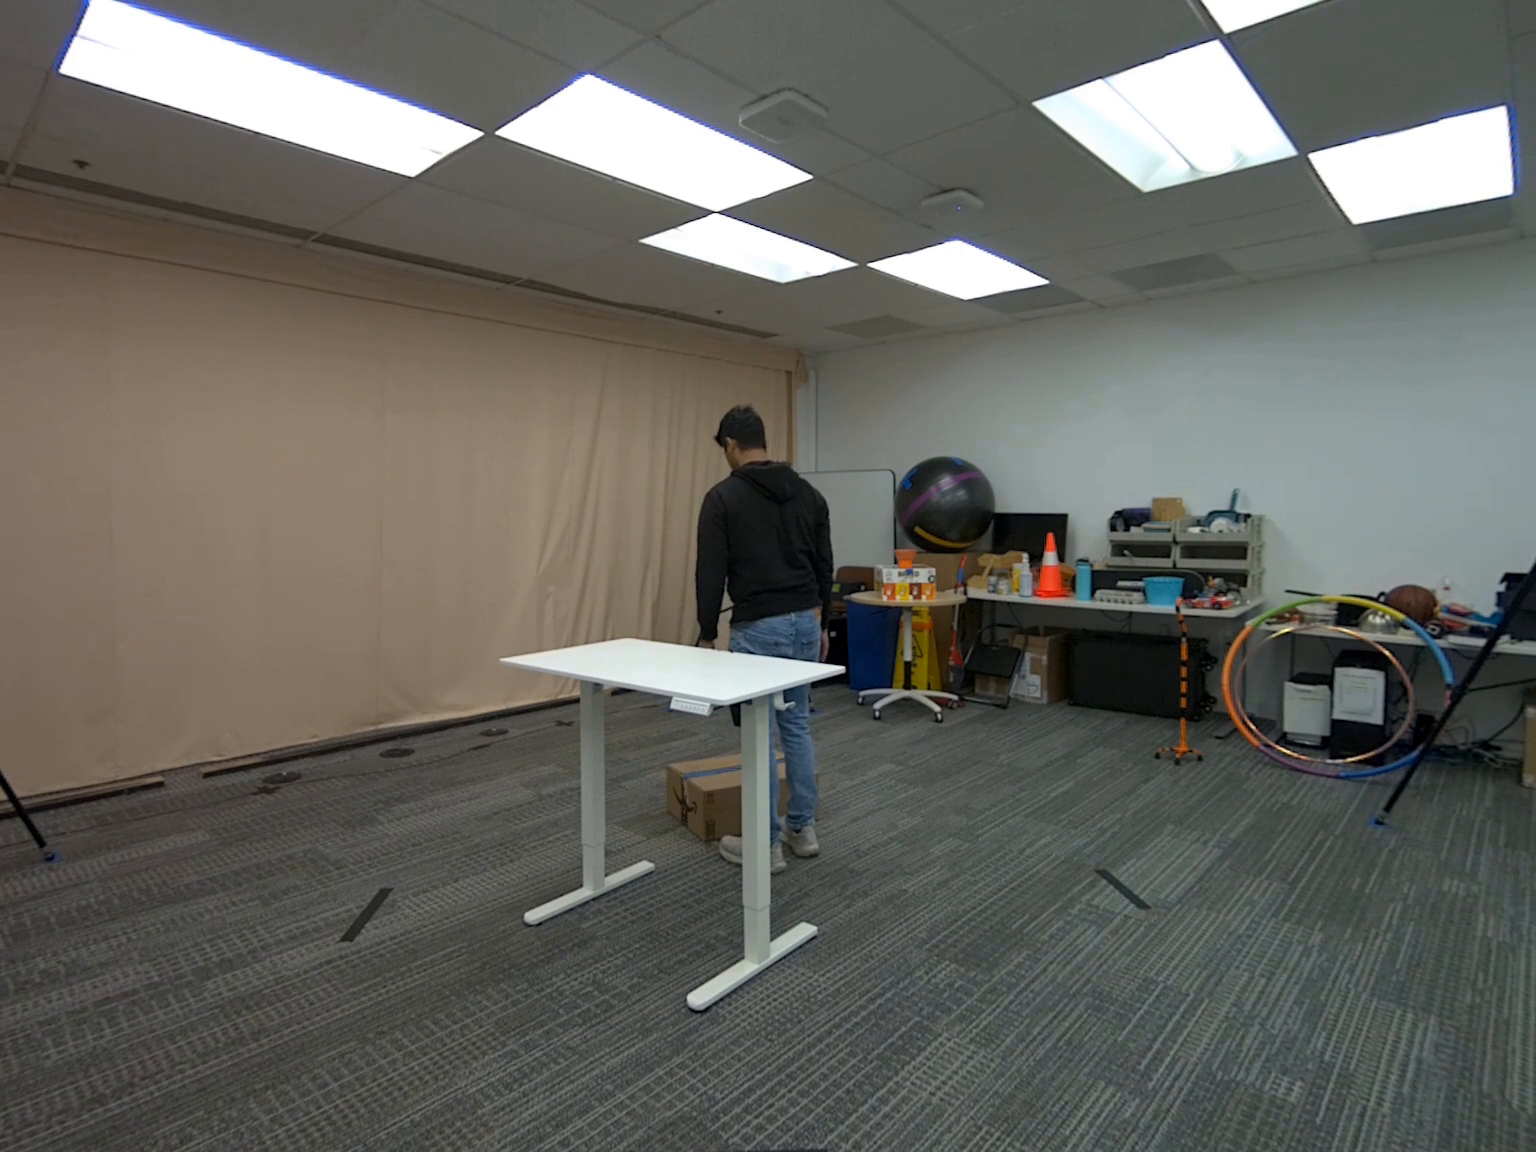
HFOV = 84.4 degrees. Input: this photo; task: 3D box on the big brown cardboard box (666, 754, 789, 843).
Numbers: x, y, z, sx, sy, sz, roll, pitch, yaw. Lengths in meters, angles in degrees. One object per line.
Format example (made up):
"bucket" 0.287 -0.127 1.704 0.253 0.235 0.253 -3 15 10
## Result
"big brown cardboard box" -0.115 0.968 3.788 0.574 0.232 0.429 -4 4 -27
